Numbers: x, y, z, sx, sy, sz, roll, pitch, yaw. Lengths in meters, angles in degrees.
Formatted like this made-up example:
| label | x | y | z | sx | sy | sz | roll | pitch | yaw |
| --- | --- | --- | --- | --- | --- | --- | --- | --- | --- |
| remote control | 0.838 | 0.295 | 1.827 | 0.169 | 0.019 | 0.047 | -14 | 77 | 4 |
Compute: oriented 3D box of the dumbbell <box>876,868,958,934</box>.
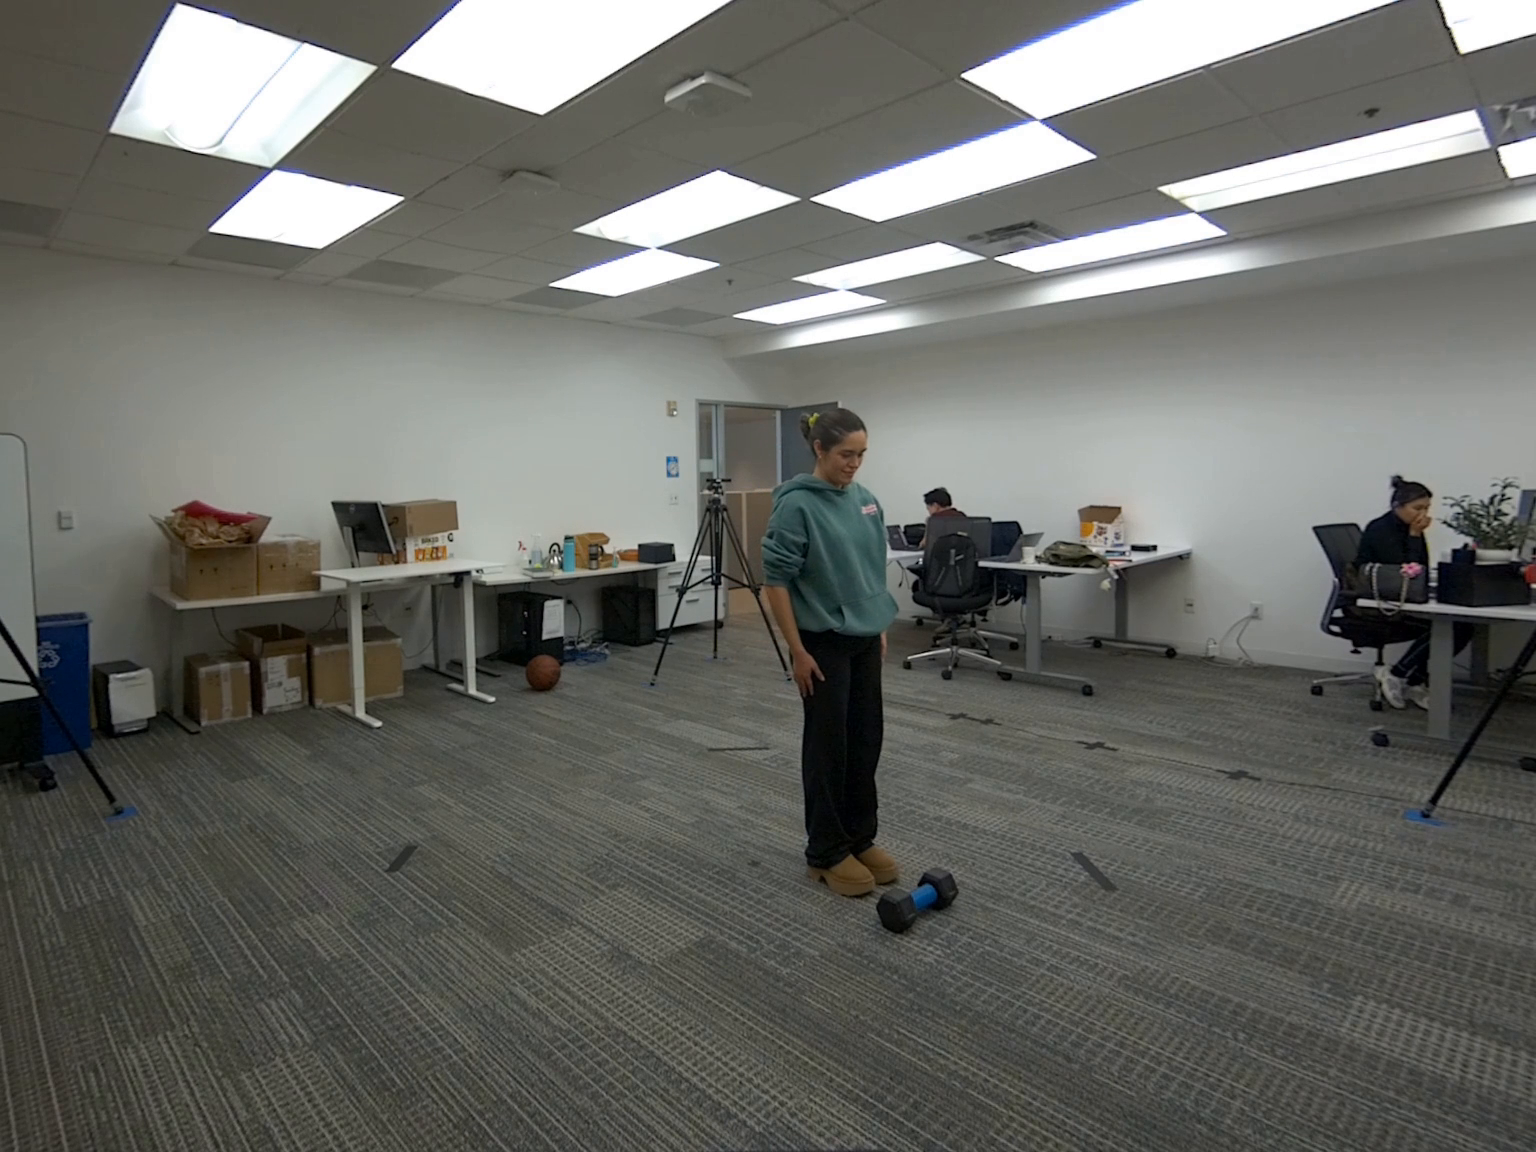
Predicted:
| label | x | y | z | sx | sy | sz | roll | pitch | yaw |
| --- | --- | --- | --- | --- | --- | --- | --- | --- | --- |
| dumbbell | 0.483 | 1.027 | 2.708 | 0.286 | 0.121 | 0.113 | -6 | 38 | -41 |
